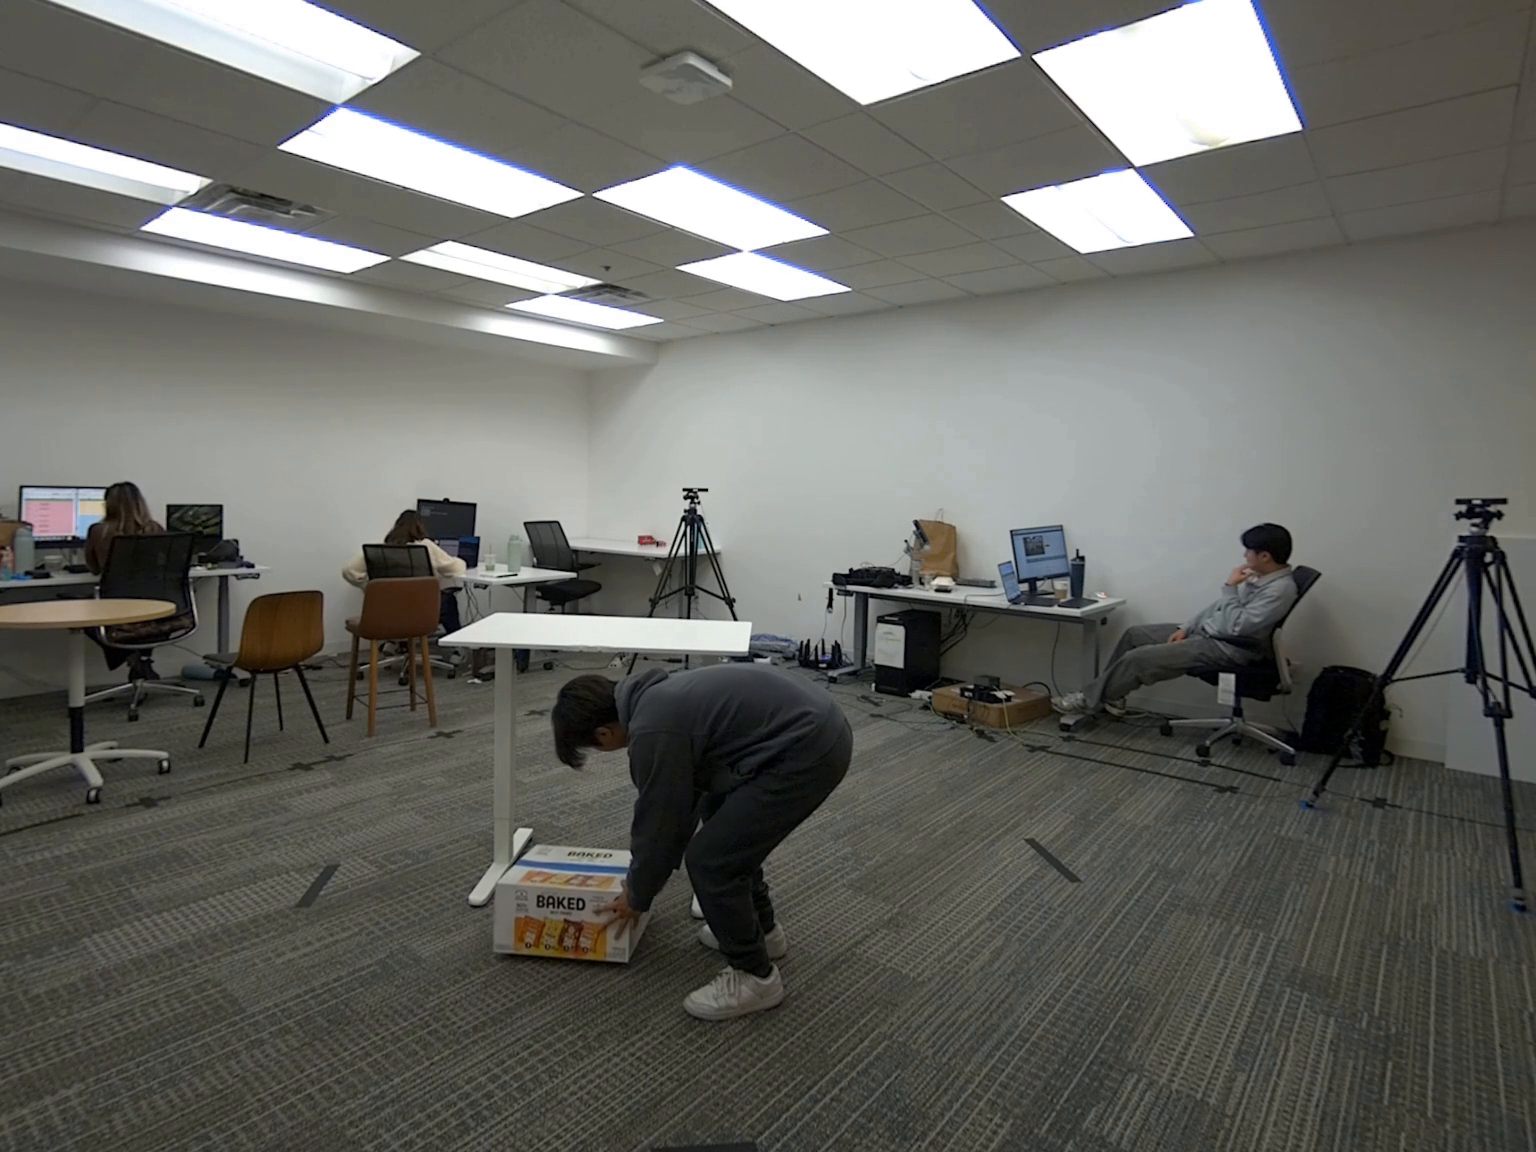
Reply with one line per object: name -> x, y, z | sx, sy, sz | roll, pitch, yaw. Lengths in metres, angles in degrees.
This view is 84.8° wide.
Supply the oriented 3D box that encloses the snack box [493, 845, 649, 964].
snack box -> -0.596, 0.997, 2.629 | 0.408, 0.206, 0.338 | 2, 1, 6
